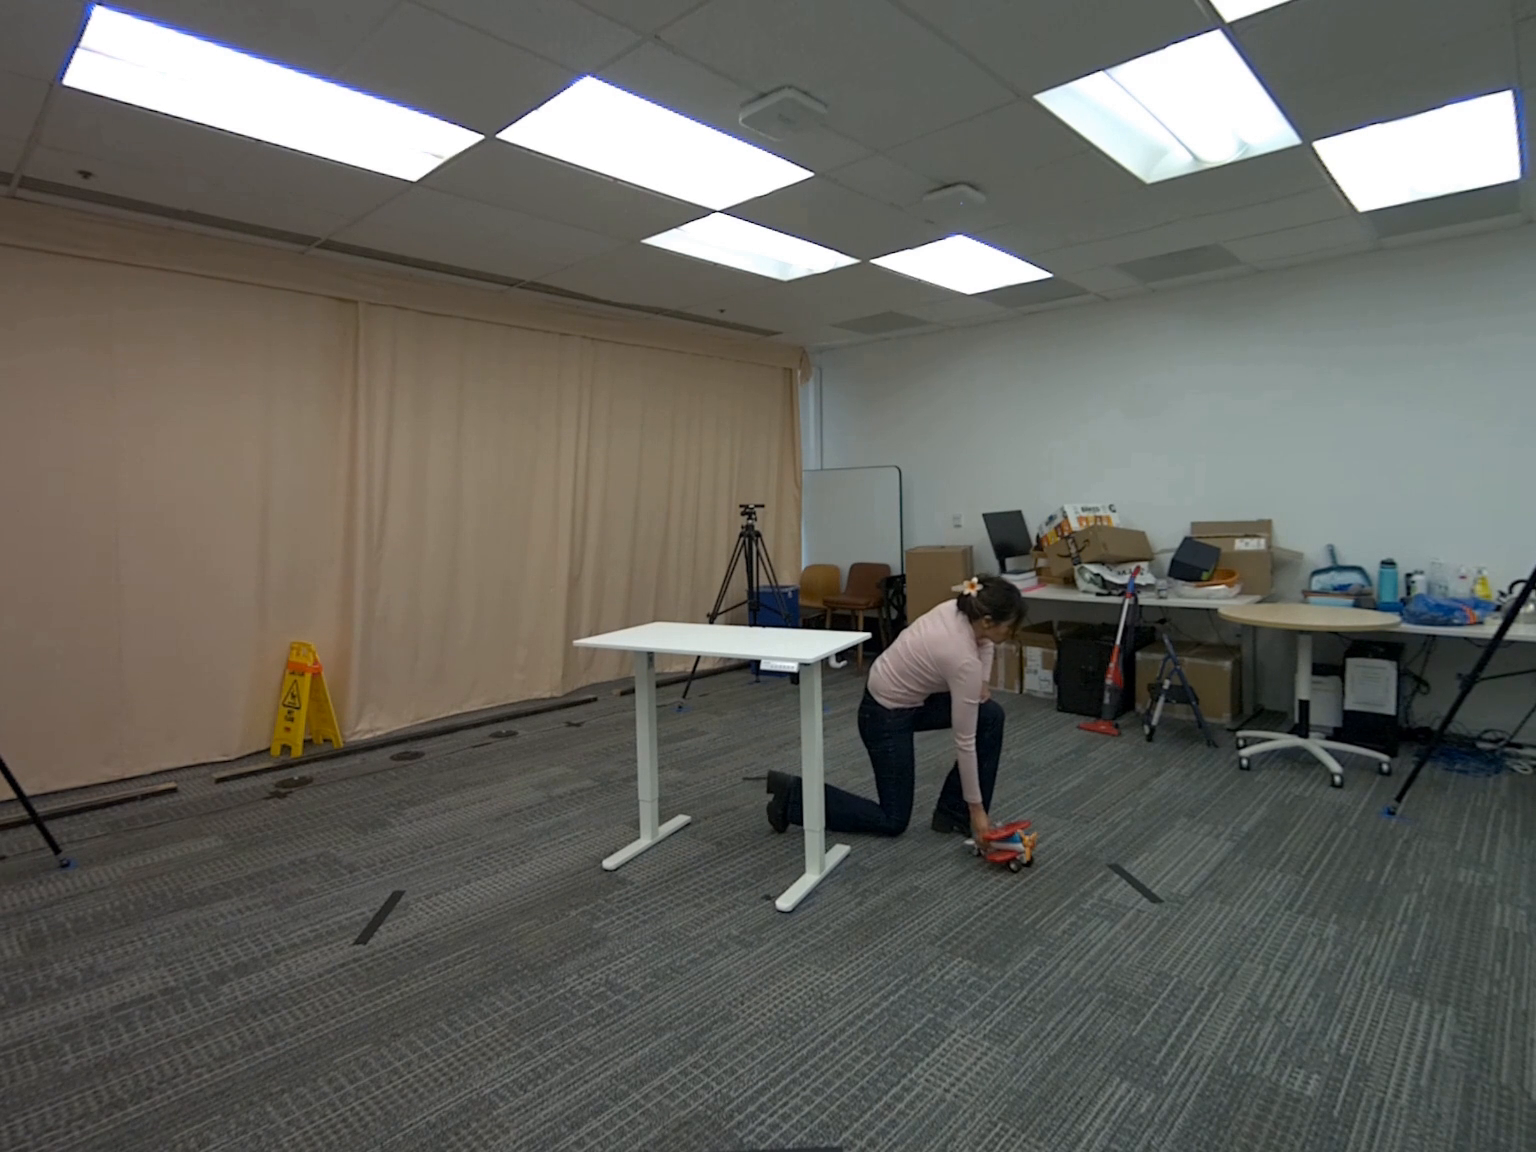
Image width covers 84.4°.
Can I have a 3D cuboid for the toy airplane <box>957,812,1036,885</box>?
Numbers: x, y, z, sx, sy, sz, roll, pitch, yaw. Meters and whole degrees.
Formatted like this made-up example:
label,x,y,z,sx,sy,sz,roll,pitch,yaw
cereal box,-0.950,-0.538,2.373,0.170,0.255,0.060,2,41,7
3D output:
label,x,y,z,sx,sy,sz,roll,pitch,yaw
toy airplane,0.870,1.021,3.220,0.265,0.156,0.246,2,4,22
